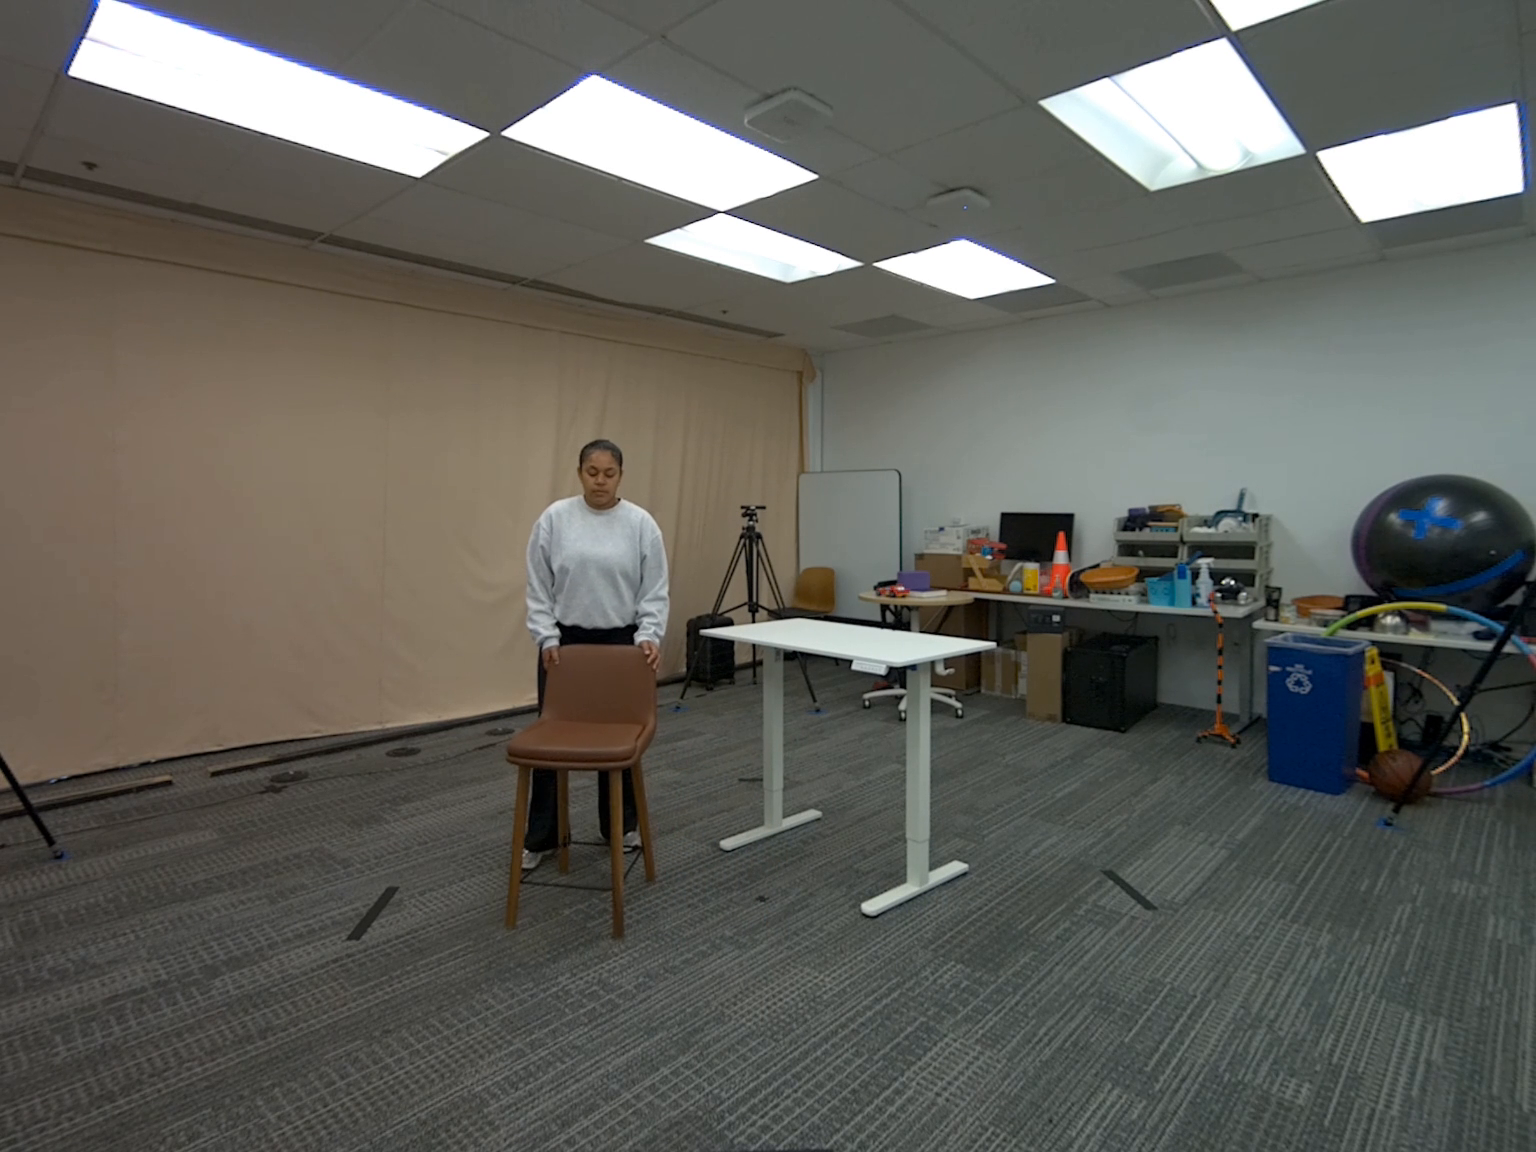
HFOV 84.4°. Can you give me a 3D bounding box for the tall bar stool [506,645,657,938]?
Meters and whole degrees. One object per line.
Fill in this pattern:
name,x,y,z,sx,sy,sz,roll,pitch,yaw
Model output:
tall bar stool,-0.635,0.715,2.948,0.463,0.889,0.462,0,1,11
